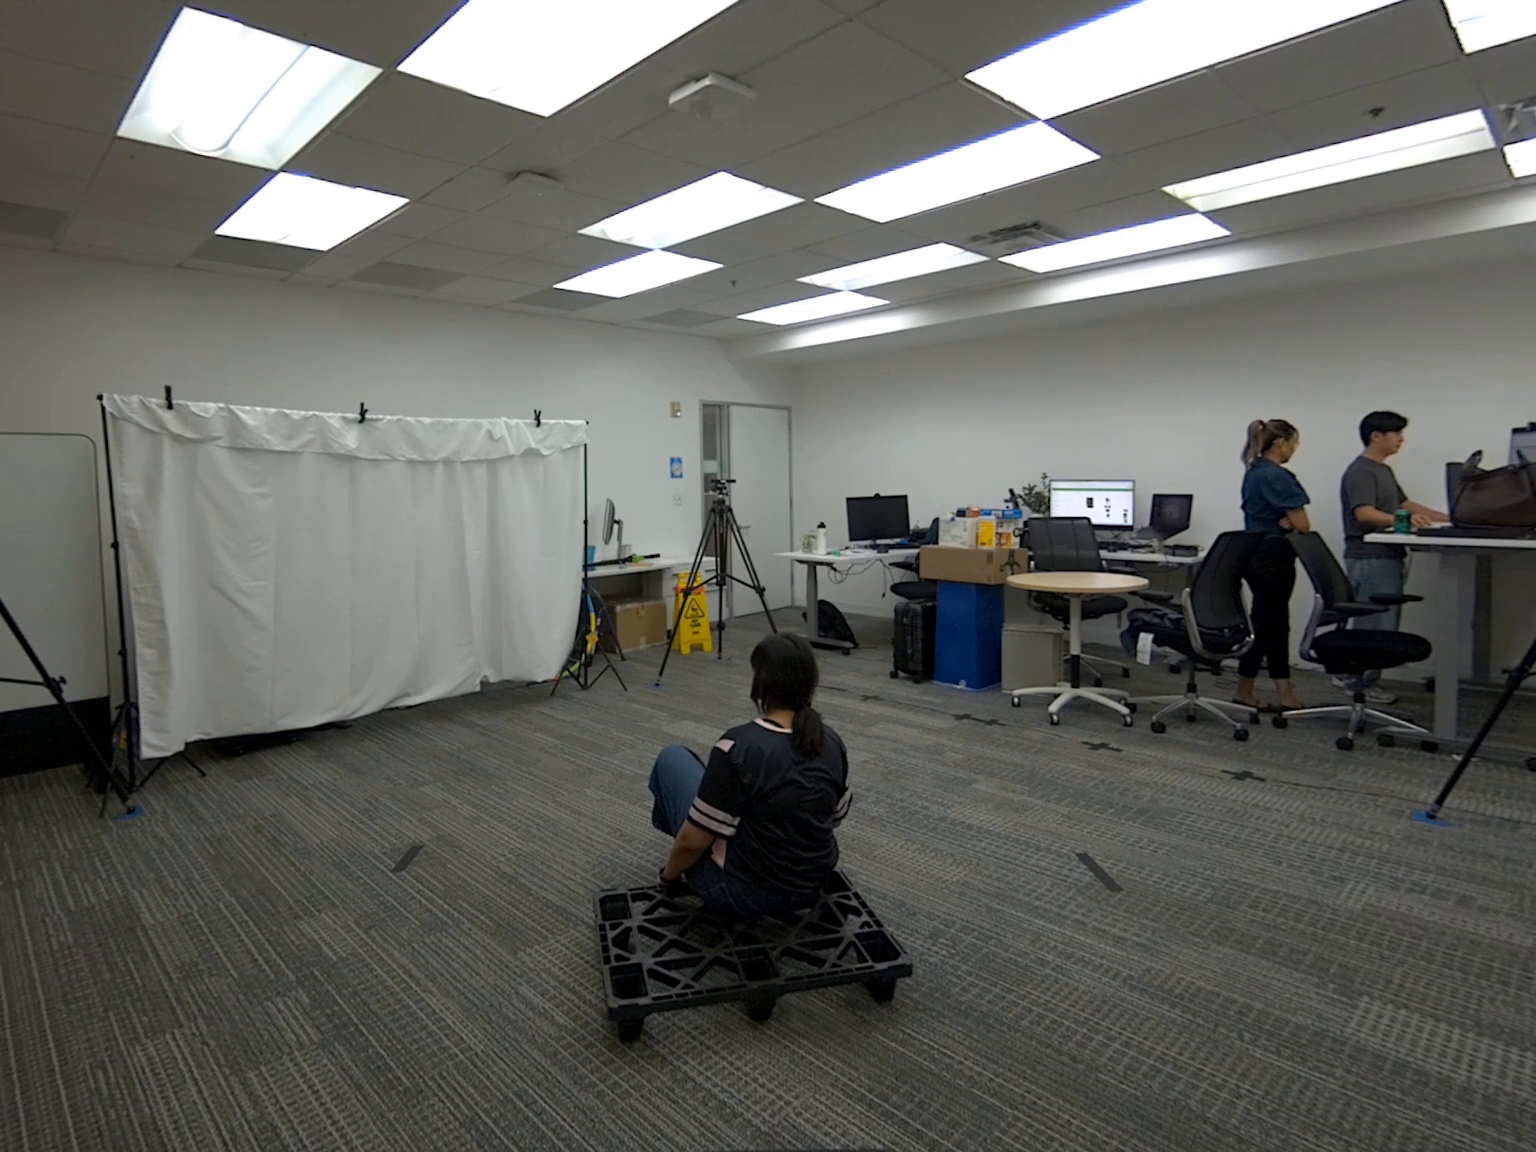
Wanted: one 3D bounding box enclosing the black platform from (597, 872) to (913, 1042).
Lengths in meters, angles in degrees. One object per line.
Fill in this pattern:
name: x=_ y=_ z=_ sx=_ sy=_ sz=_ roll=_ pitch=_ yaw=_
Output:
black platform: x=-0.079 y=1.061 z=2.432 sx=0.796 sy=0.143 sz=0.615 roll=-2 pitch=6 yaw=-13
